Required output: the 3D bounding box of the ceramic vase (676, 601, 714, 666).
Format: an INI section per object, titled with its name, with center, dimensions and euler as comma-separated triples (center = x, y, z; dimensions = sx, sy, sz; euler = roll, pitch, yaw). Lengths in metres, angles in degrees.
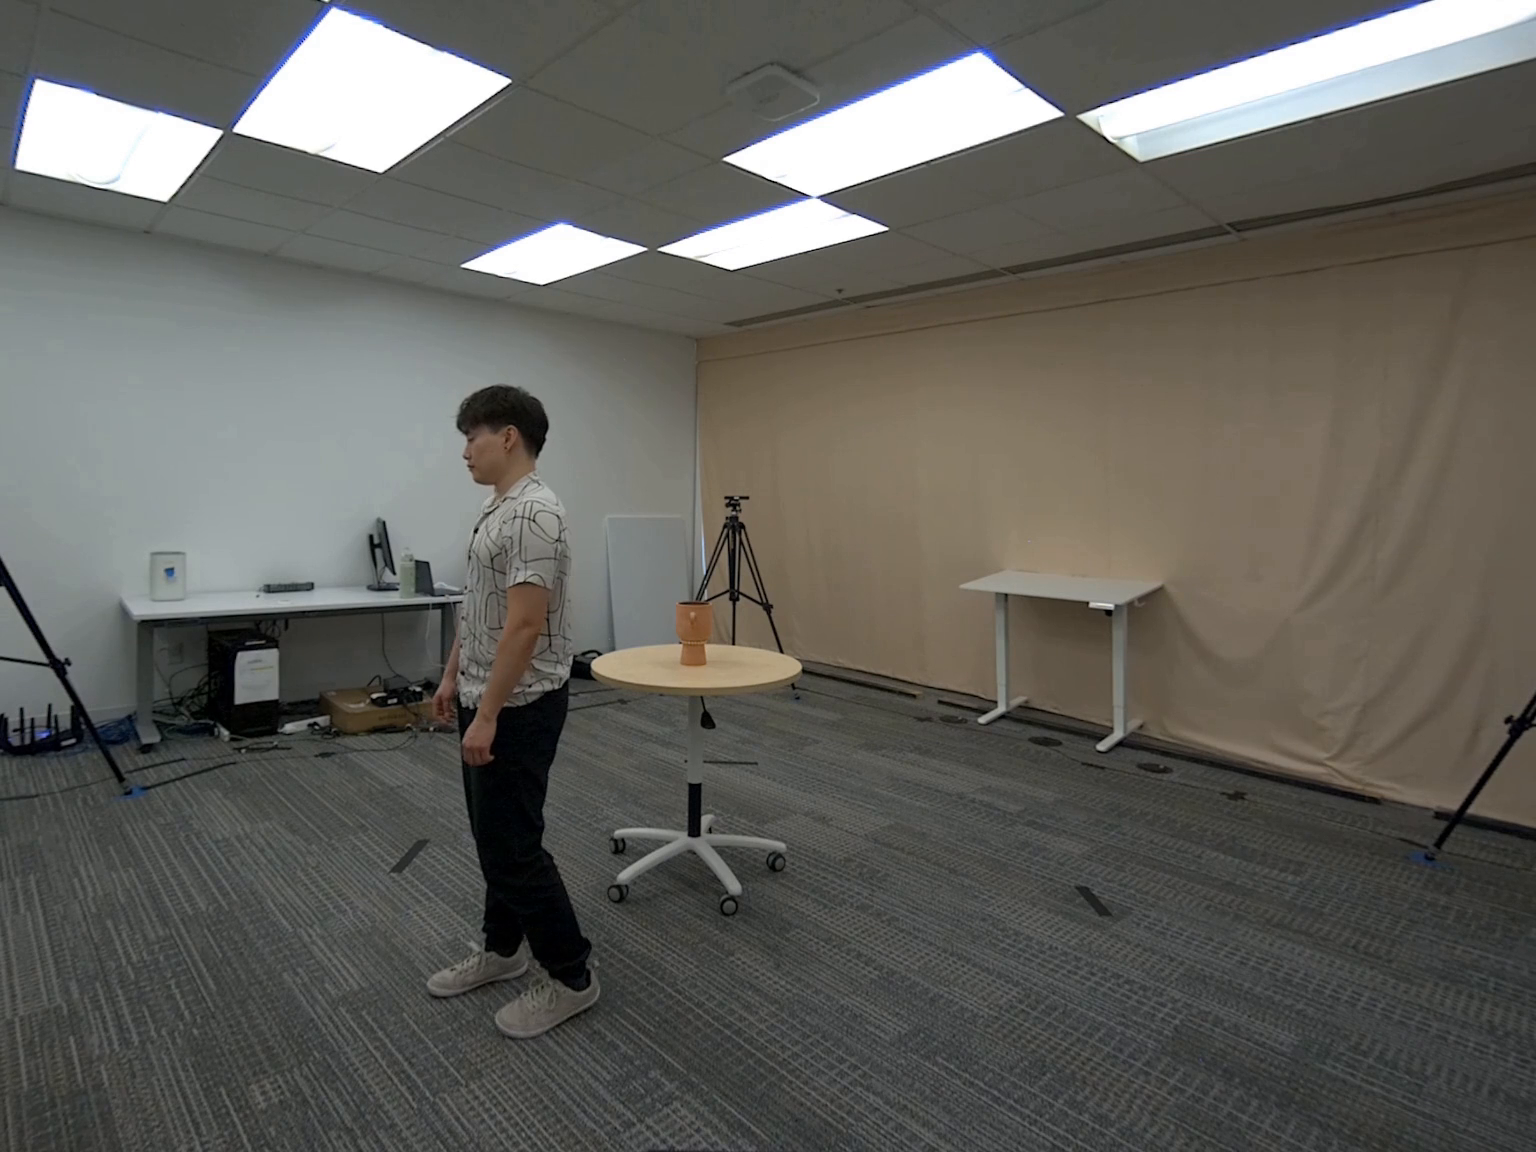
[ceramic vase]
center = -0.277, 0.211, 3.068
dimensions = 0.138, 0.219, 0.155
euler = 4, 5, 38
